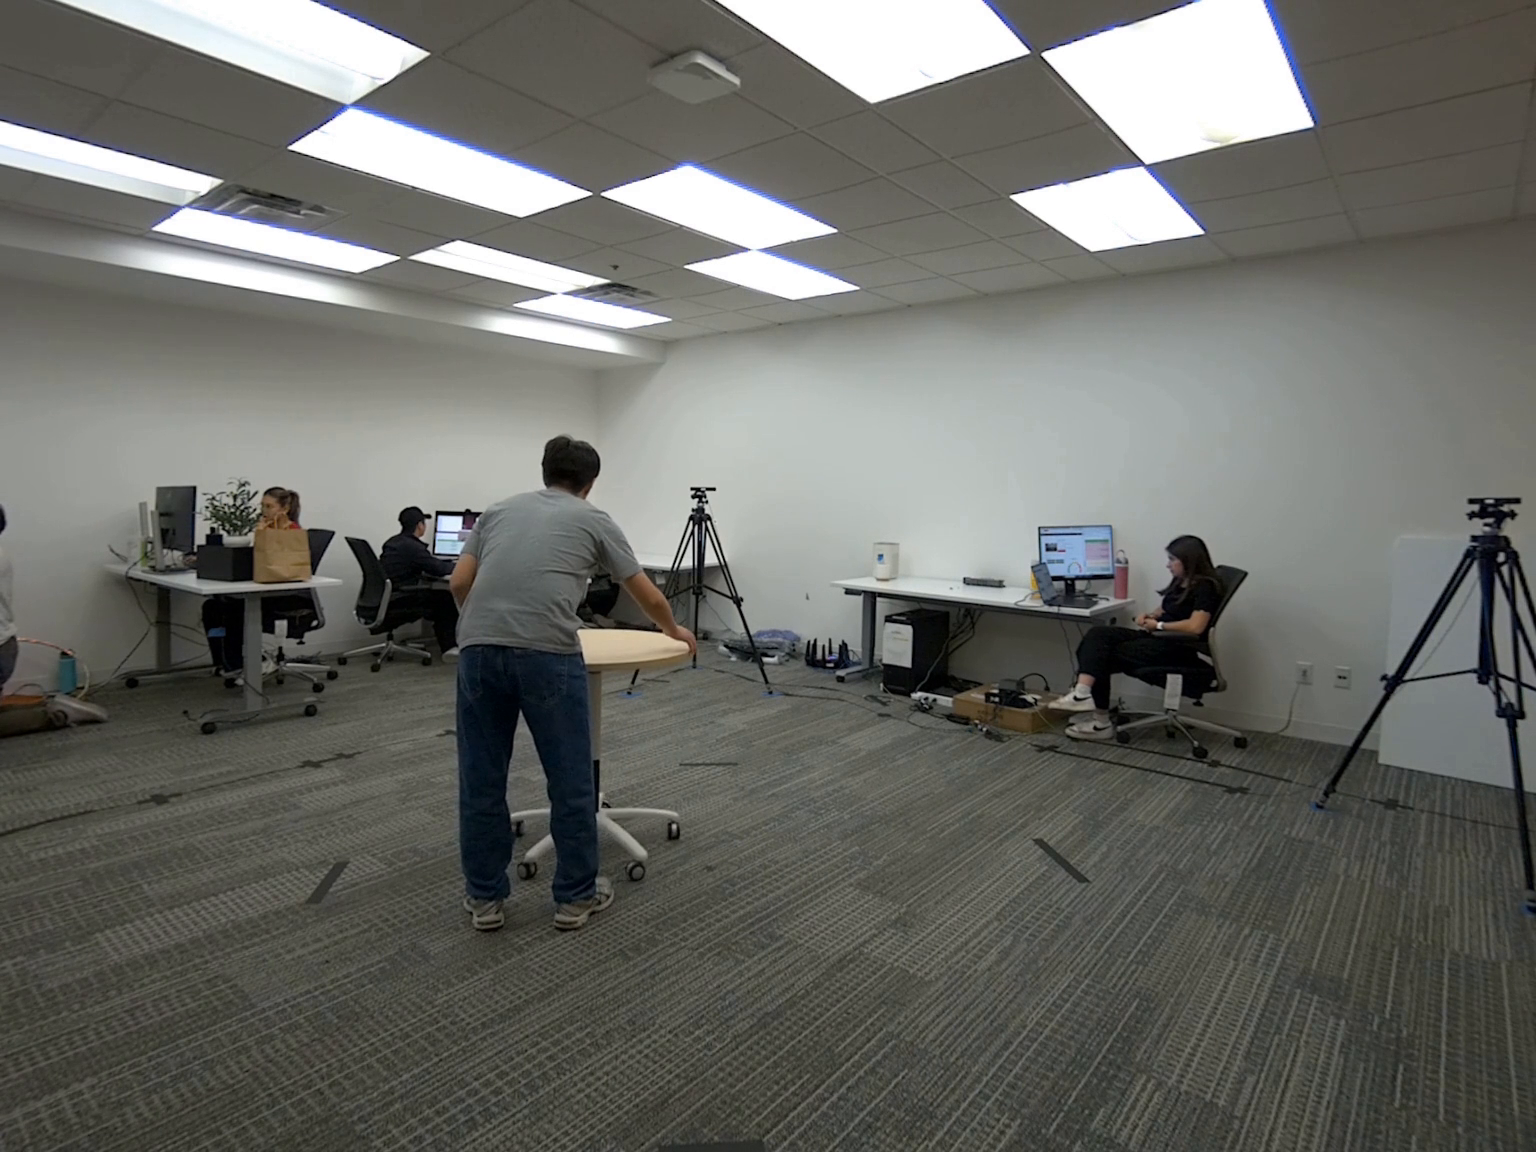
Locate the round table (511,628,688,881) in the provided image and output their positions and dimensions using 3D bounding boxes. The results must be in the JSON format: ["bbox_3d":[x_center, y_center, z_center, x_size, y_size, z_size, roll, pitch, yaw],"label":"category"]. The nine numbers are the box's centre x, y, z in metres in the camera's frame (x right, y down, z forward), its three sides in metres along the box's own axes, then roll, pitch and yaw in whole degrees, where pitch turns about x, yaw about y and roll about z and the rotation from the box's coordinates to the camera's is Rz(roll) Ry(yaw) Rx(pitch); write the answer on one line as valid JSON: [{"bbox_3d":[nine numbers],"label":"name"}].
[{"bbox_3d":[-0.677,0.653,3.265,0.763,0.792,0.767,0,4,-2],"label":"round table"}]
